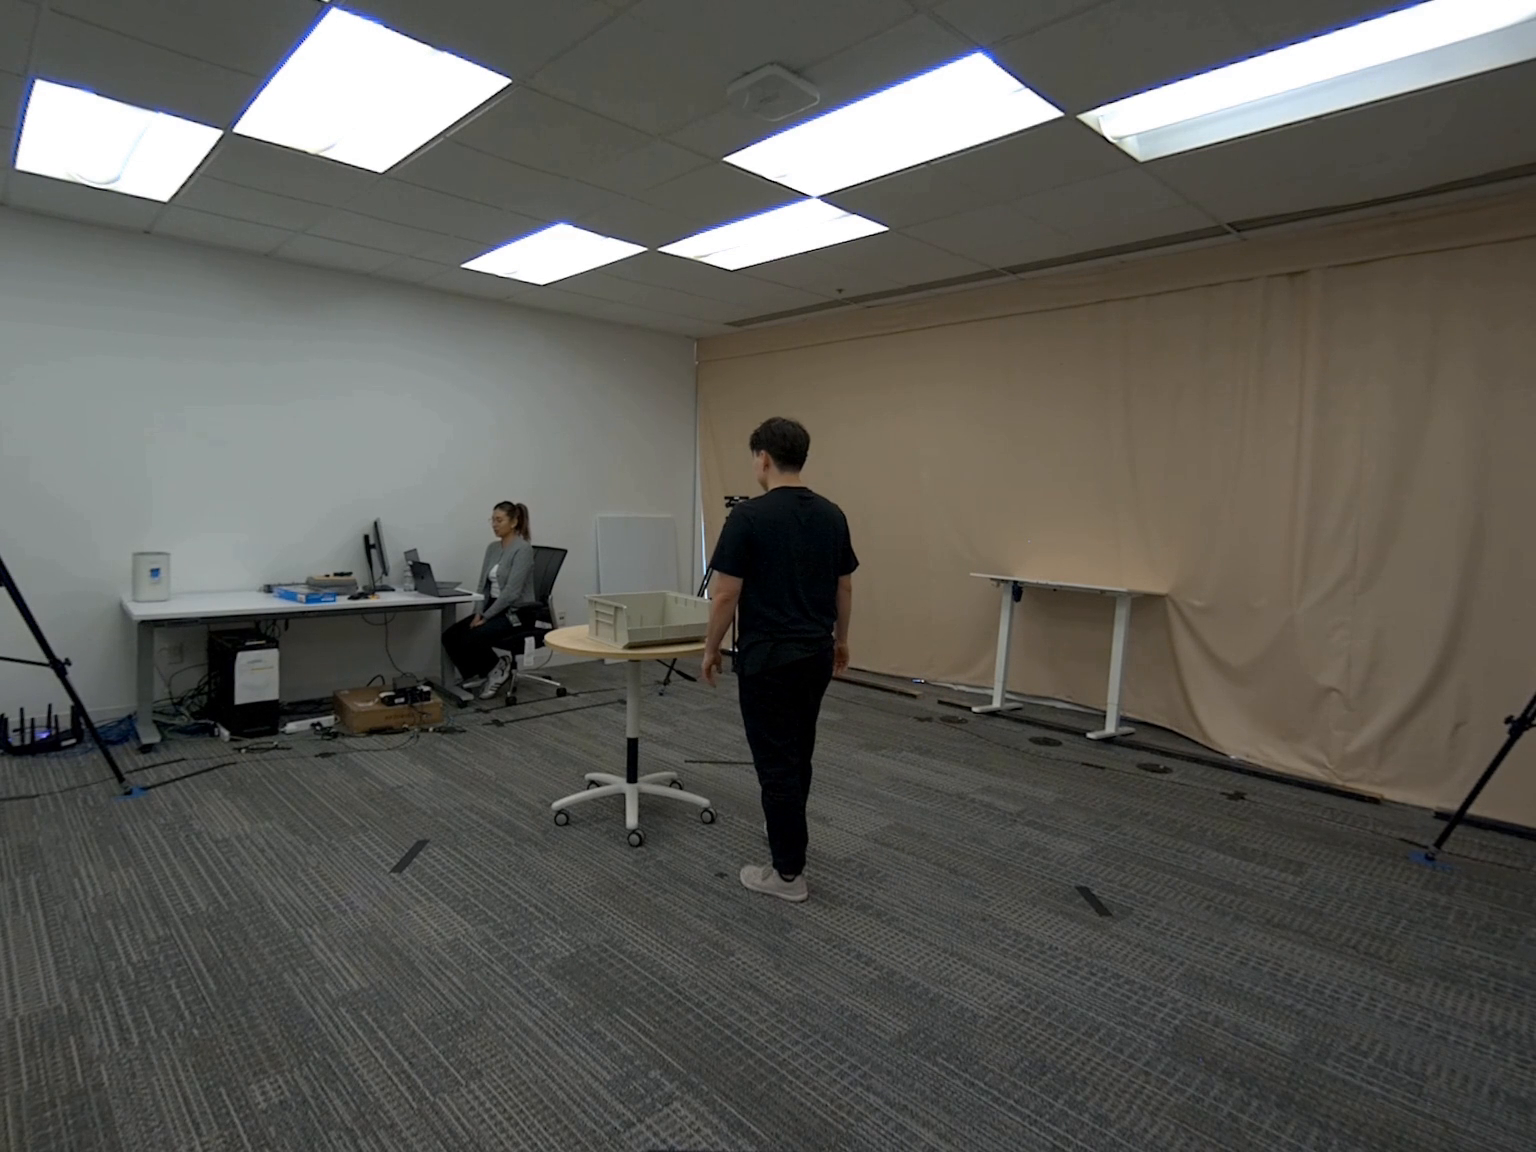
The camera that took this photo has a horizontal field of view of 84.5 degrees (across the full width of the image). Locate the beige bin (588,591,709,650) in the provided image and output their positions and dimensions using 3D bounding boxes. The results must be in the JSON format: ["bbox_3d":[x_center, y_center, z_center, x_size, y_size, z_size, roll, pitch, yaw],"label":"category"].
[{"bbox_3d":[-0.512,0.185,3.563,0.413,0.188,0.387,-3,6,-37],"label":"beige bin"}]
